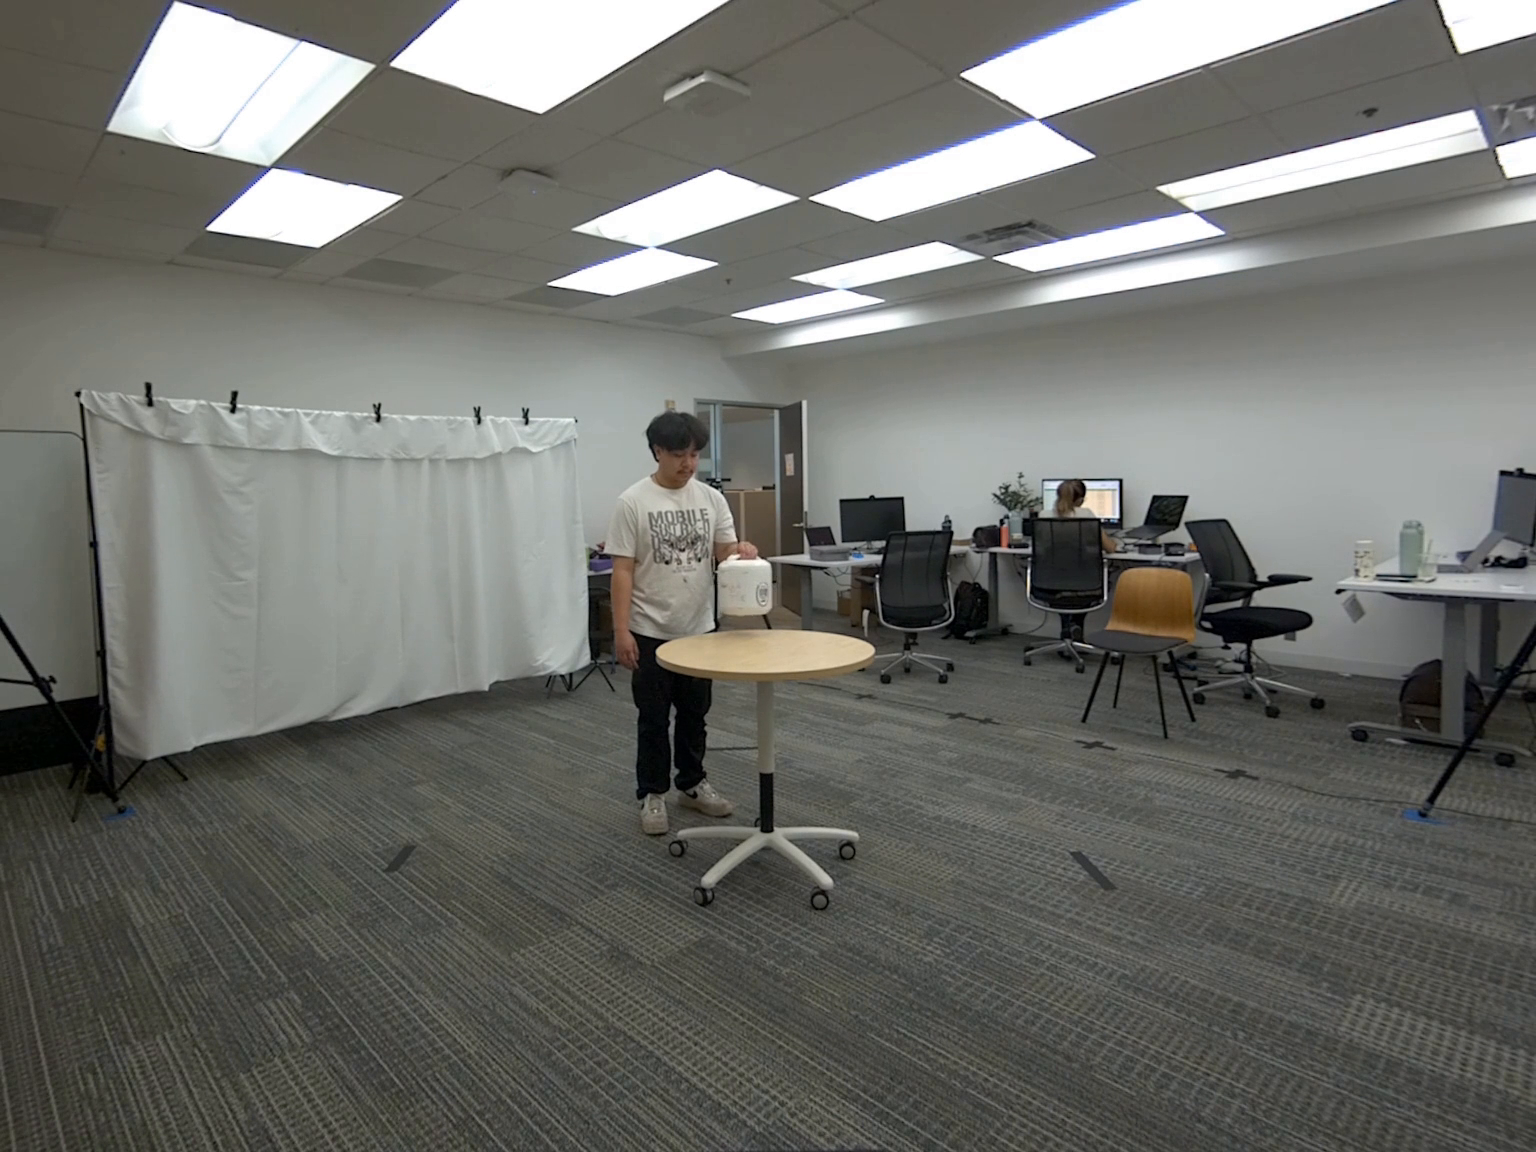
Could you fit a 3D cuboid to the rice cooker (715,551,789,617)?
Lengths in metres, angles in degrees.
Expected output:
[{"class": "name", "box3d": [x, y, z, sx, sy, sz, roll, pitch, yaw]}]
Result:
[{"class": "rice cooker", "box3d": [-0.081, 0.027, 3.268, 0.214, 0.233, 0.223, -1, -2, -38]}]
